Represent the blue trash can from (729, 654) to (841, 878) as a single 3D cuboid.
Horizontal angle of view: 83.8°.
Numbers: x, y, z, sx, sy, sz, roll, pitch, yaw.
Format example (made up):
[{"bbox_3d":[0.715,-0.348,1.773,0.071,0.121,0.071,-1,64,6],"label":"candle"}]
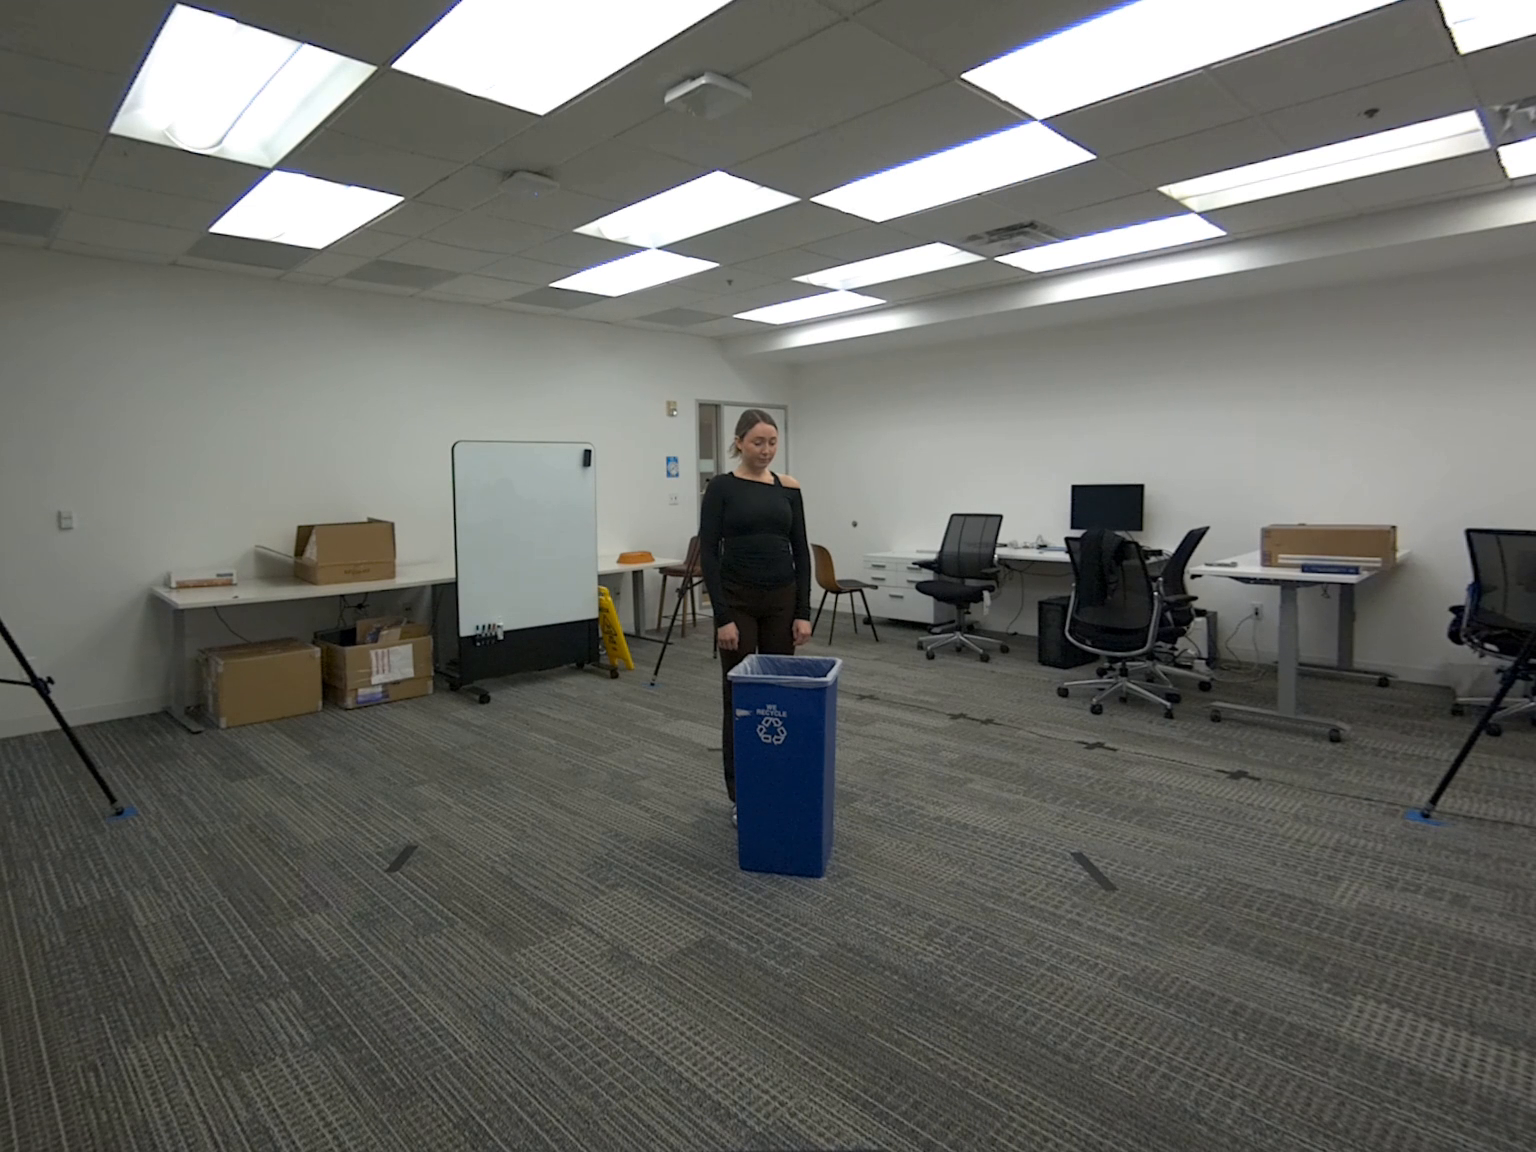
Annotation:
[{"bbox_3d":[0.075,0.683,3.139,0.379,0.711,0.374,0,4,14],"label":"blue trash can"}]
